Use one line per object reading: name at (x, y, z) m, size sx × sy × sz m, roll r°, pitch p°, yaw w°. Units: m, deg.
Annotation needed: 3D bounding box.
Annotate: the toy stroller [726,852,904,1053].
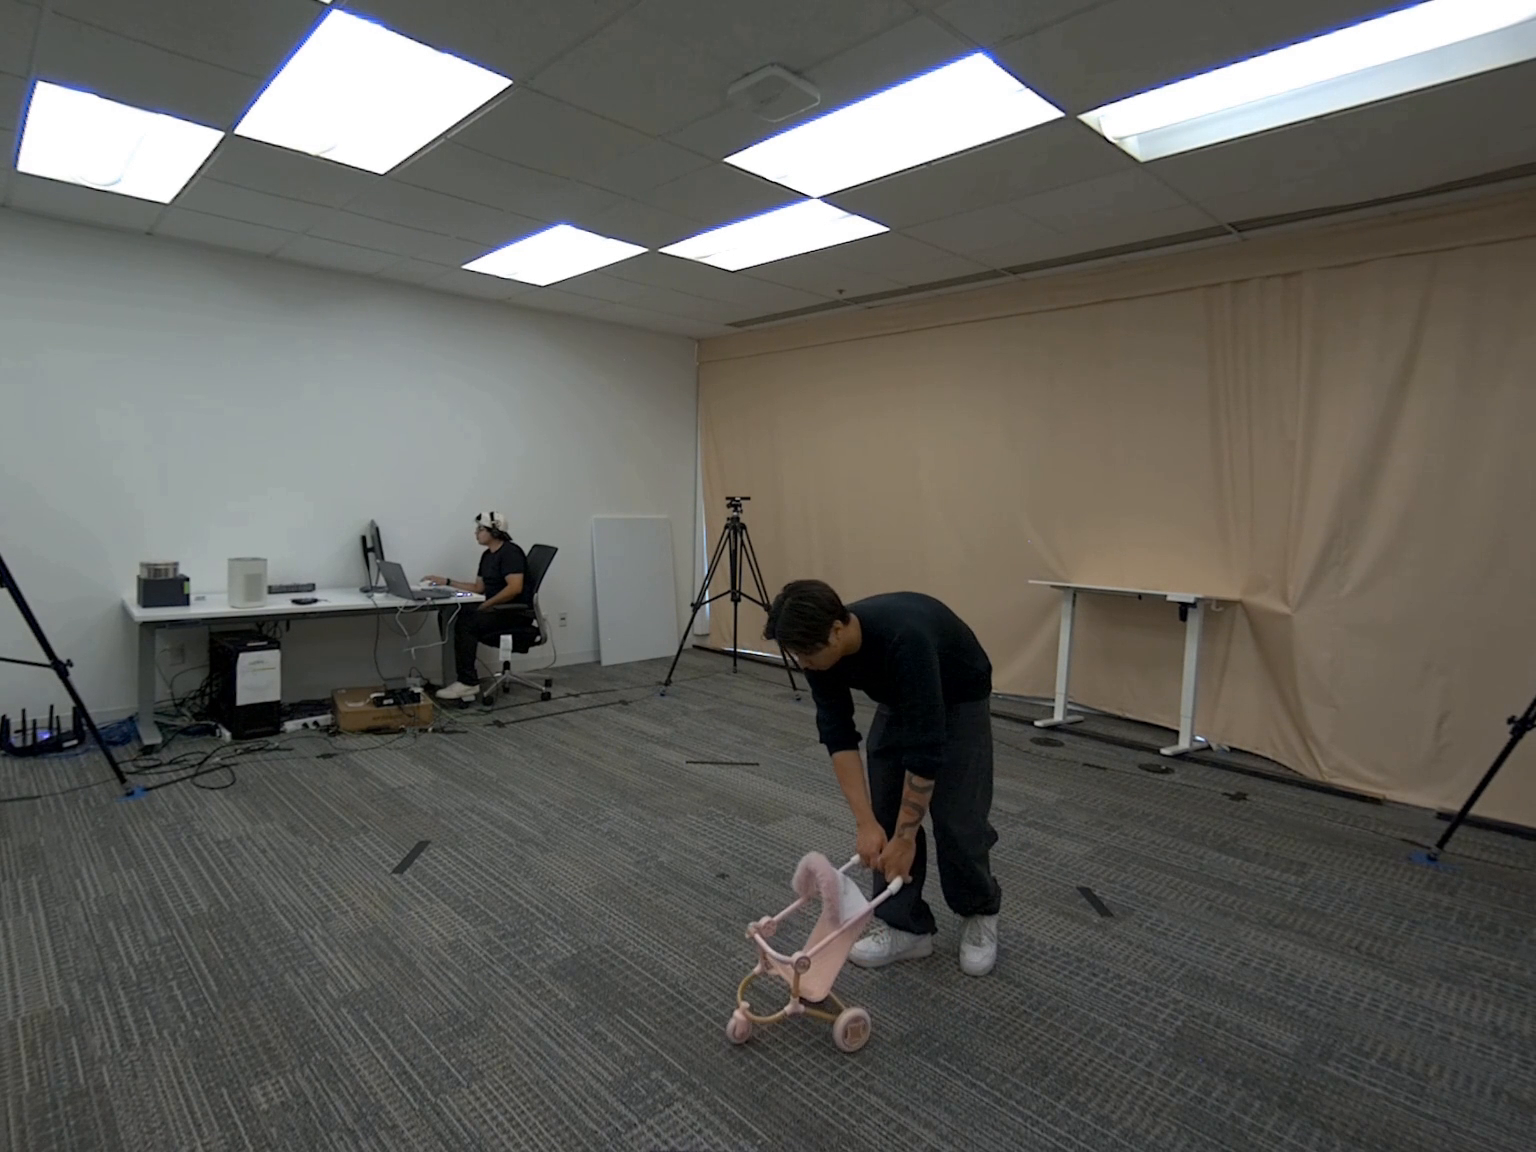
toy stroller at (0.107, 0.976, 2.218) m, size 0.335 × 0.536 × 0.286 m, roll 20°, pitch -3°, yaw -21°
